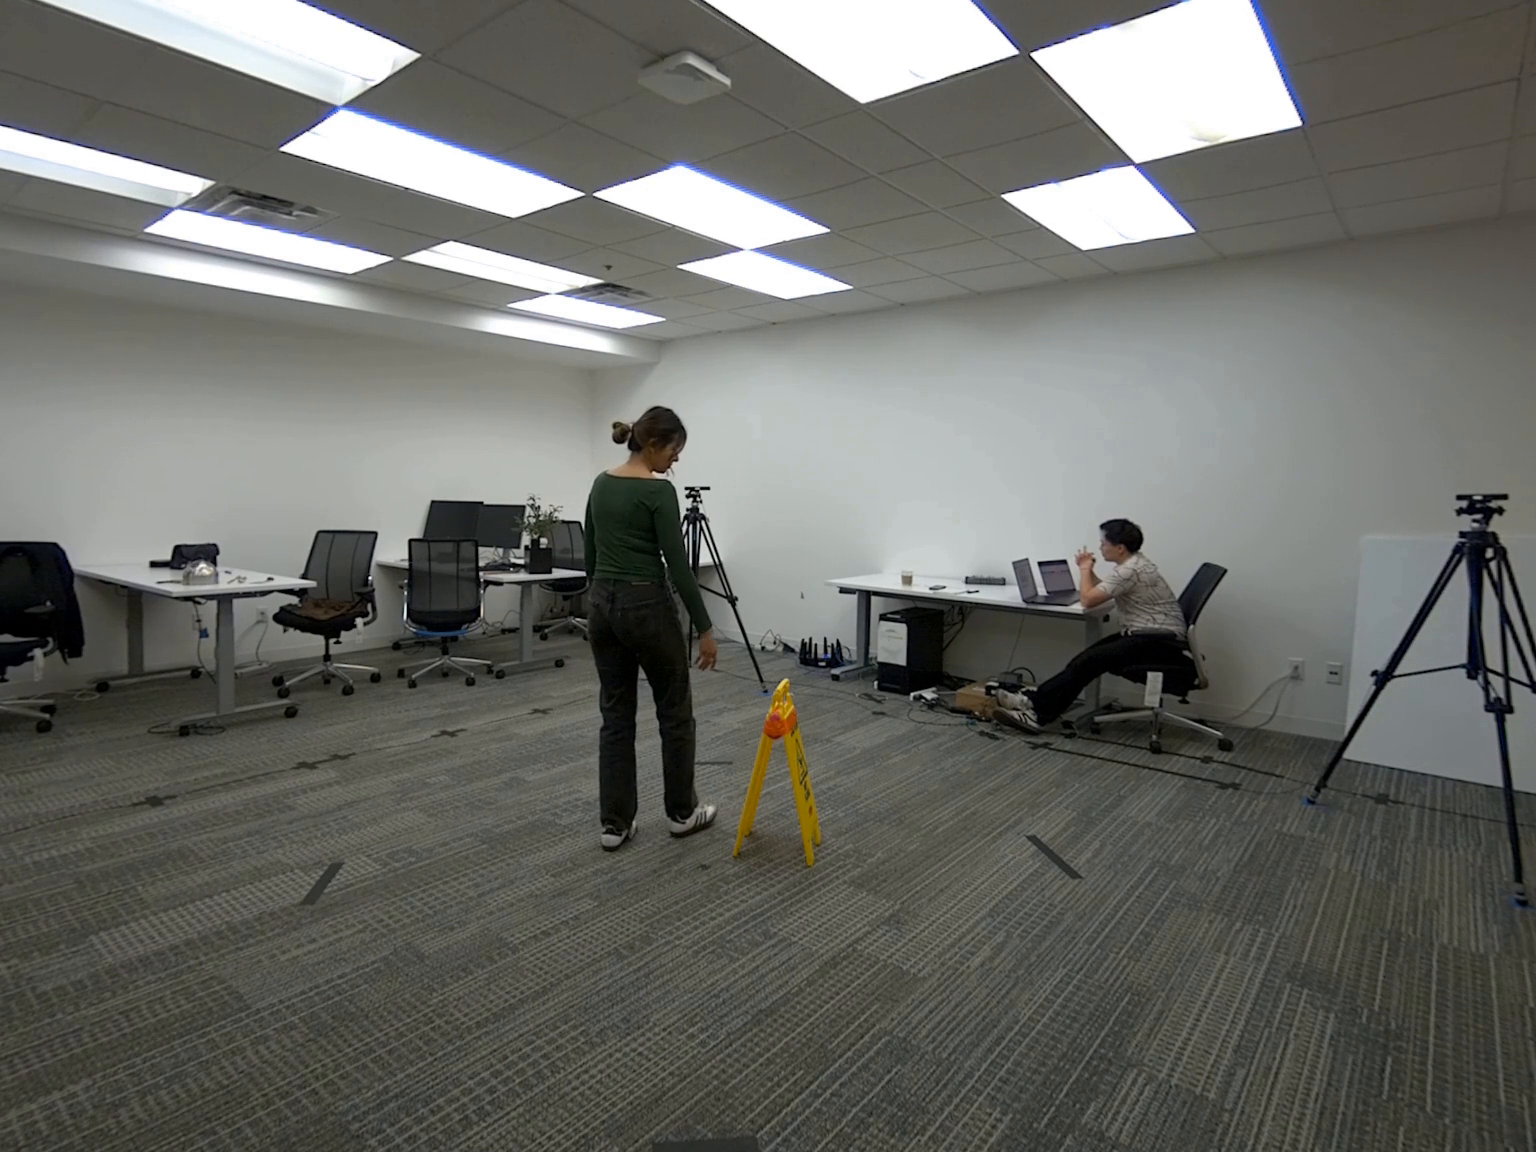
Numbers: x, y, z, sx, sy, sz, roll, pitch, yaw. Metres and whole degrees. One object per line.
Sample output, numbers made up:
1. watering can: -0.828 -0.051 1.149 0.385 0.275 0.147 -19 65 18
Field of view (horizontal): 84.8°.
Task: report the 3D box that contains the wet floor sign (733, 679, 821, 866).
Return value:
1. wet floor sign: 0.035 0.729 3.282 0.294 0.645 0.278 1 2 13
